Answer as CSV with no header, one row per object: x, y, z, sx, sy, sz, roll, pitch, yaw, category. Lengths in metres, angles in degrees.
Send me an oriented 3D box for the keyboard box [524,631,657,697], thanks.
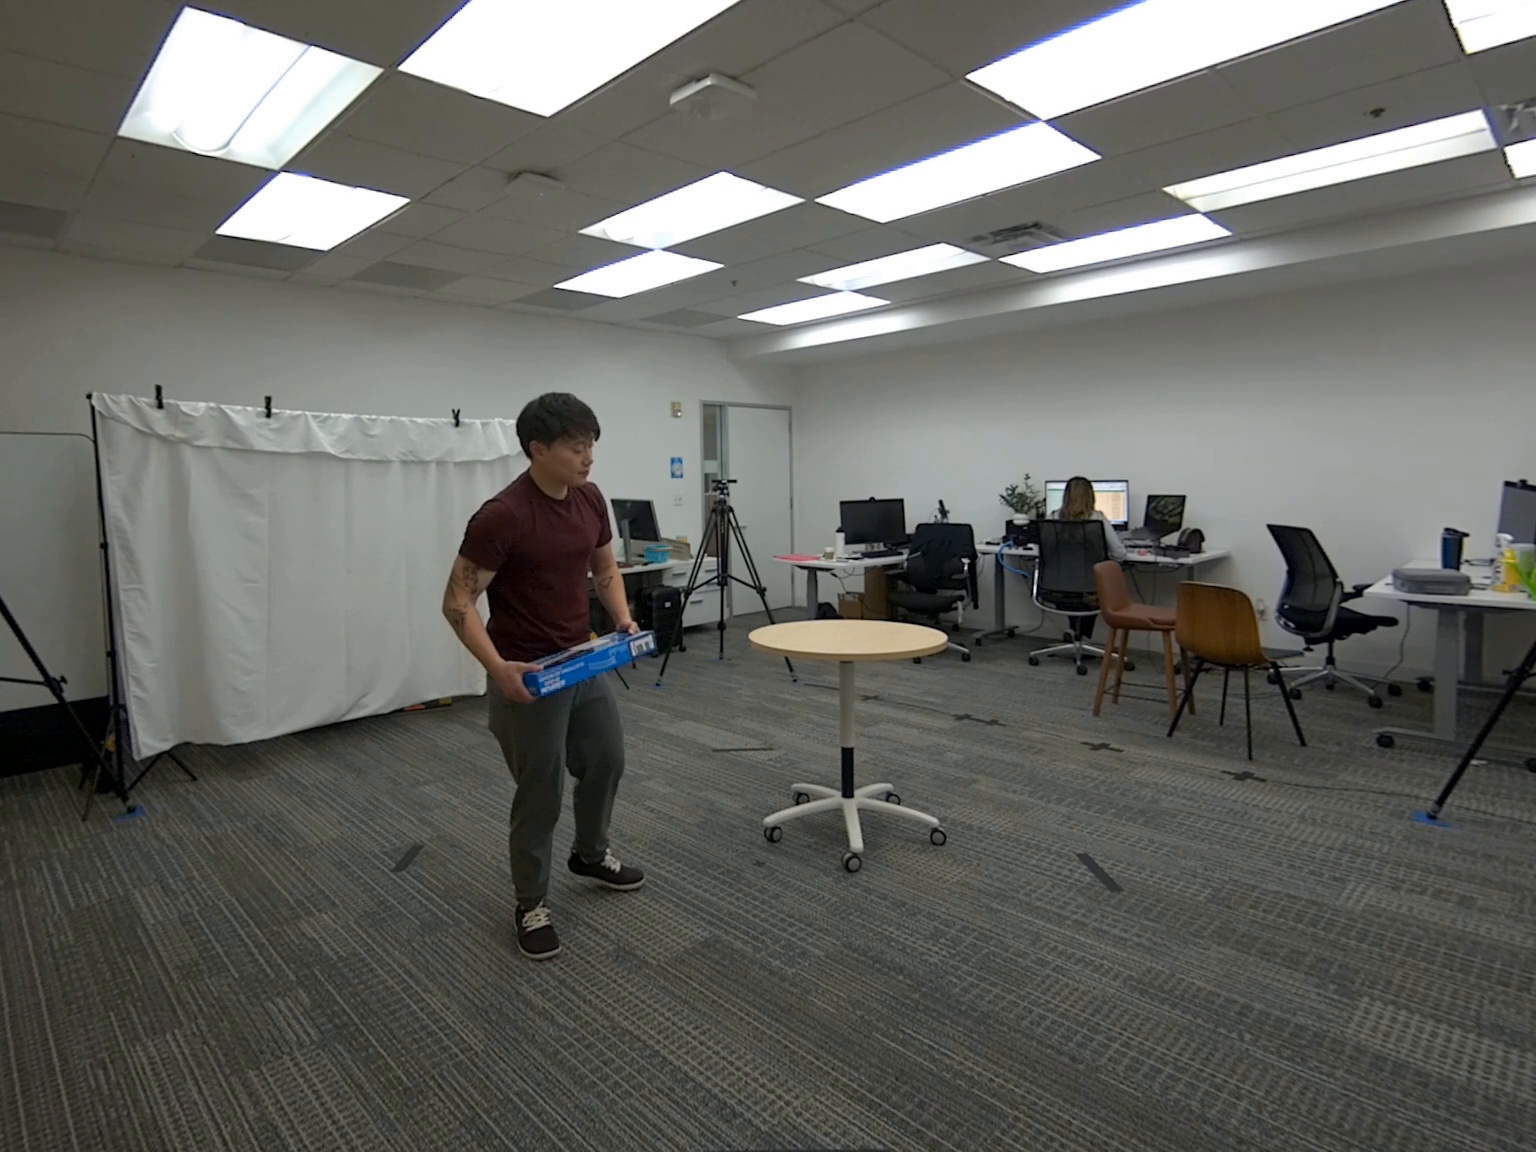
-0.521,0.247,2.405,0.180,0.059,0.428,-8,7,39,keyboard box
